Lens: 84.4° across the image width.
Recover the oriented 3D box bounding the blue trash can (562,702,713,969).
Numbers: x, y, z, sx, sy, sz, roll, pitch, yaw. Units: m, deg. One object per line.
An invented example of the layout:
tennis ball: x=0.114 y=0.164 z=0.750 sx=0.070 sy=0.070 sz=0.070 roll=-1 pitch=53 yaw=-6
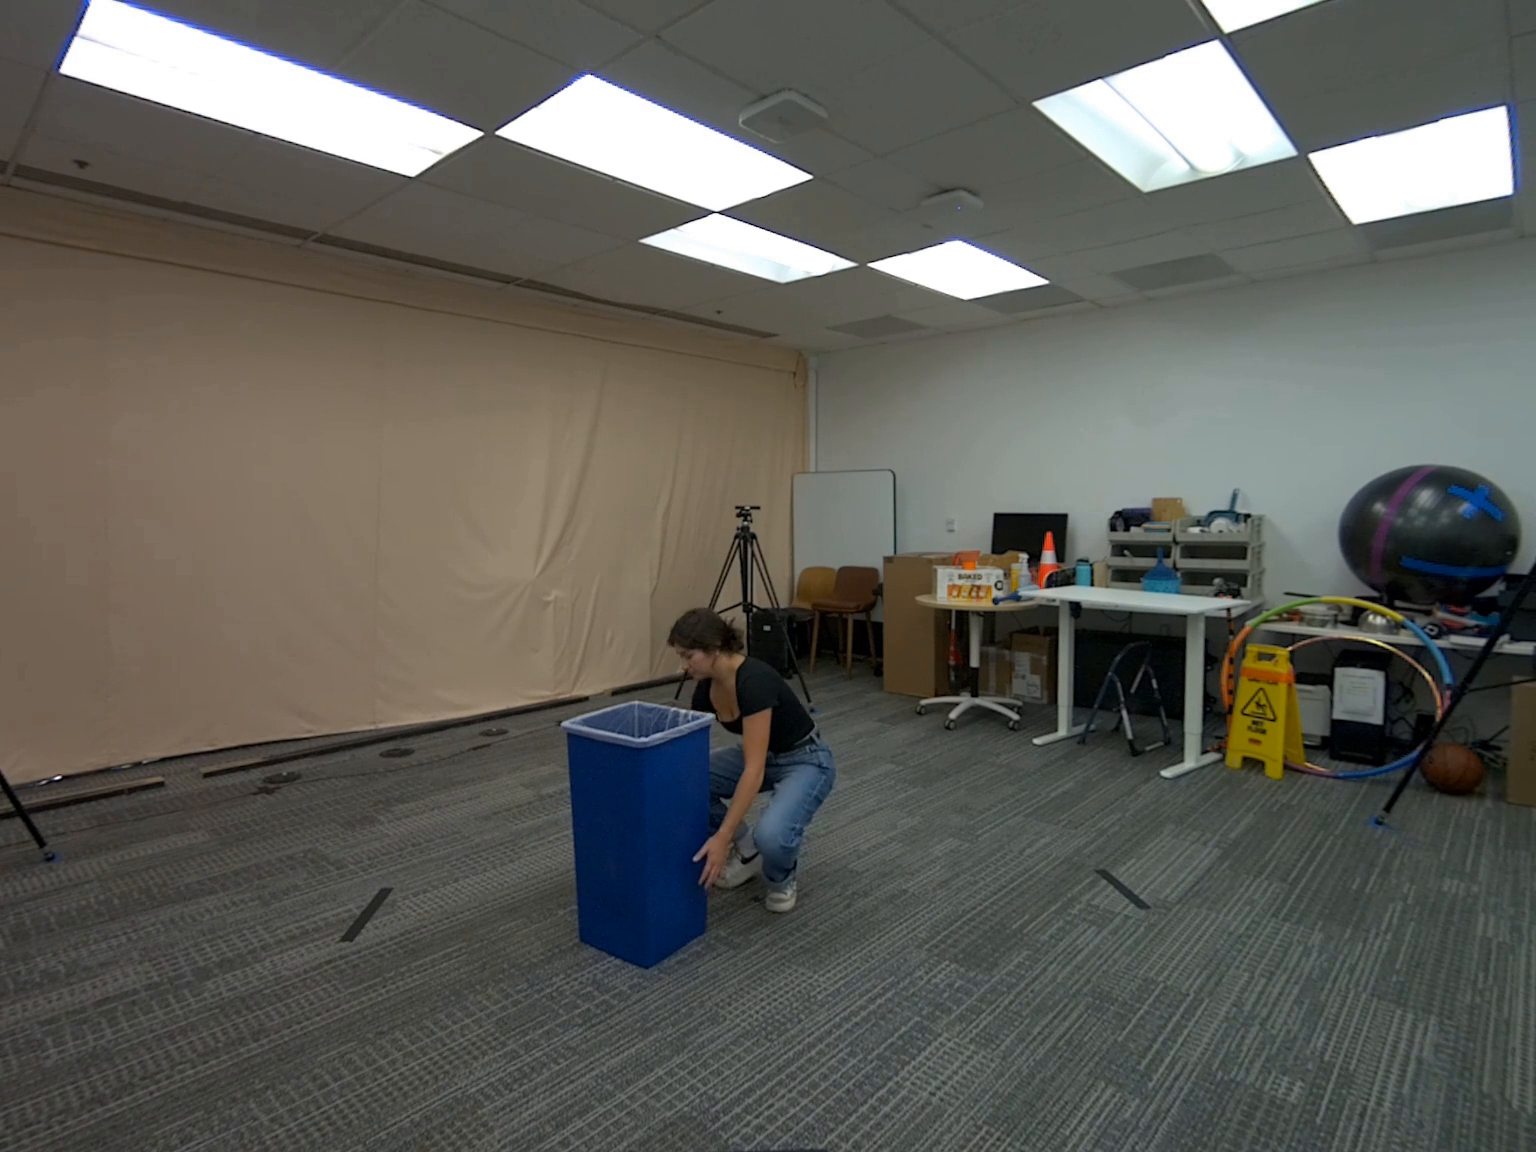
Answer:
blue trash can: x=-0.412 y=0.813 z=2.706 sx=0.390 sy=0.712 sz=0.363 roll=1 pitch=4 yaw=35
